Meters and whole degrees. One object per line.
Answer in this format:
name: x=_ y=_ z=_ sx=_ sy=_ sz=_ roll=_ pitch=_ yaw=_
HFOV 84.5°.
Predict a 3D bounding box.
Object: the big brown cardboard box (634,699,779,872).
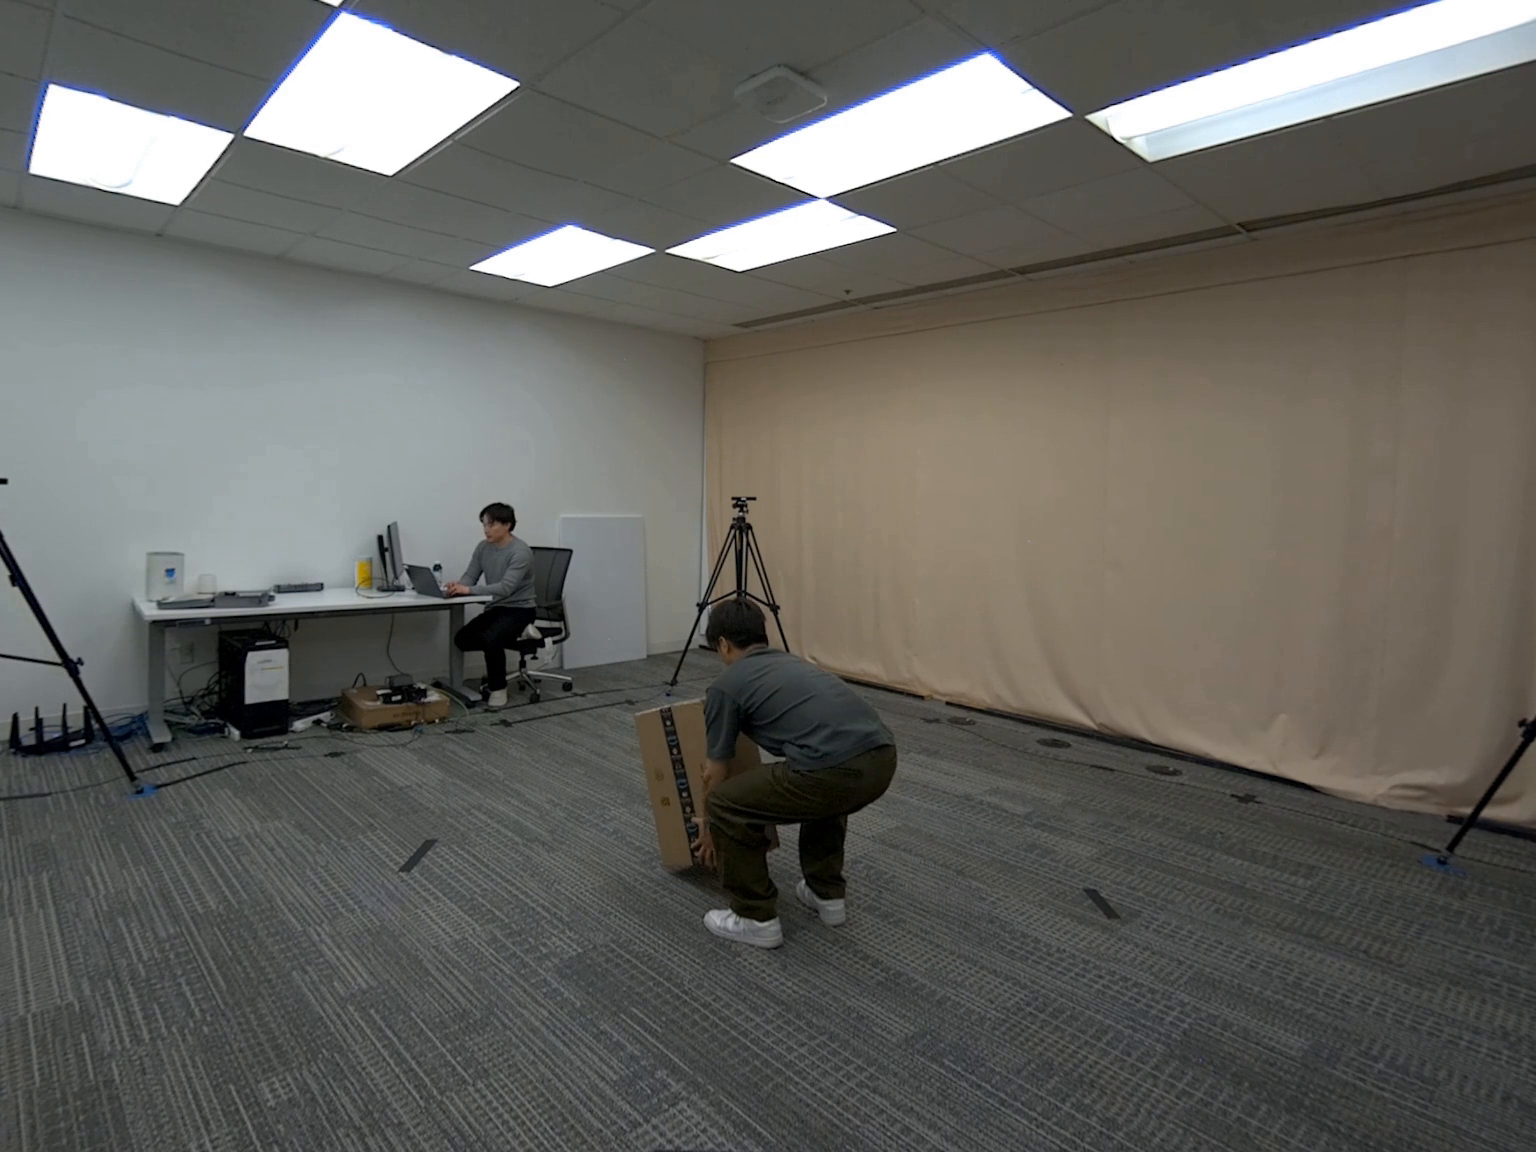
big brown cardboard box: x=-0.243 y=0.734 z=3.085 sx=0.228 sy=0.593 sz=0.423 roll=-4 pitch=-12 yaw=-45
